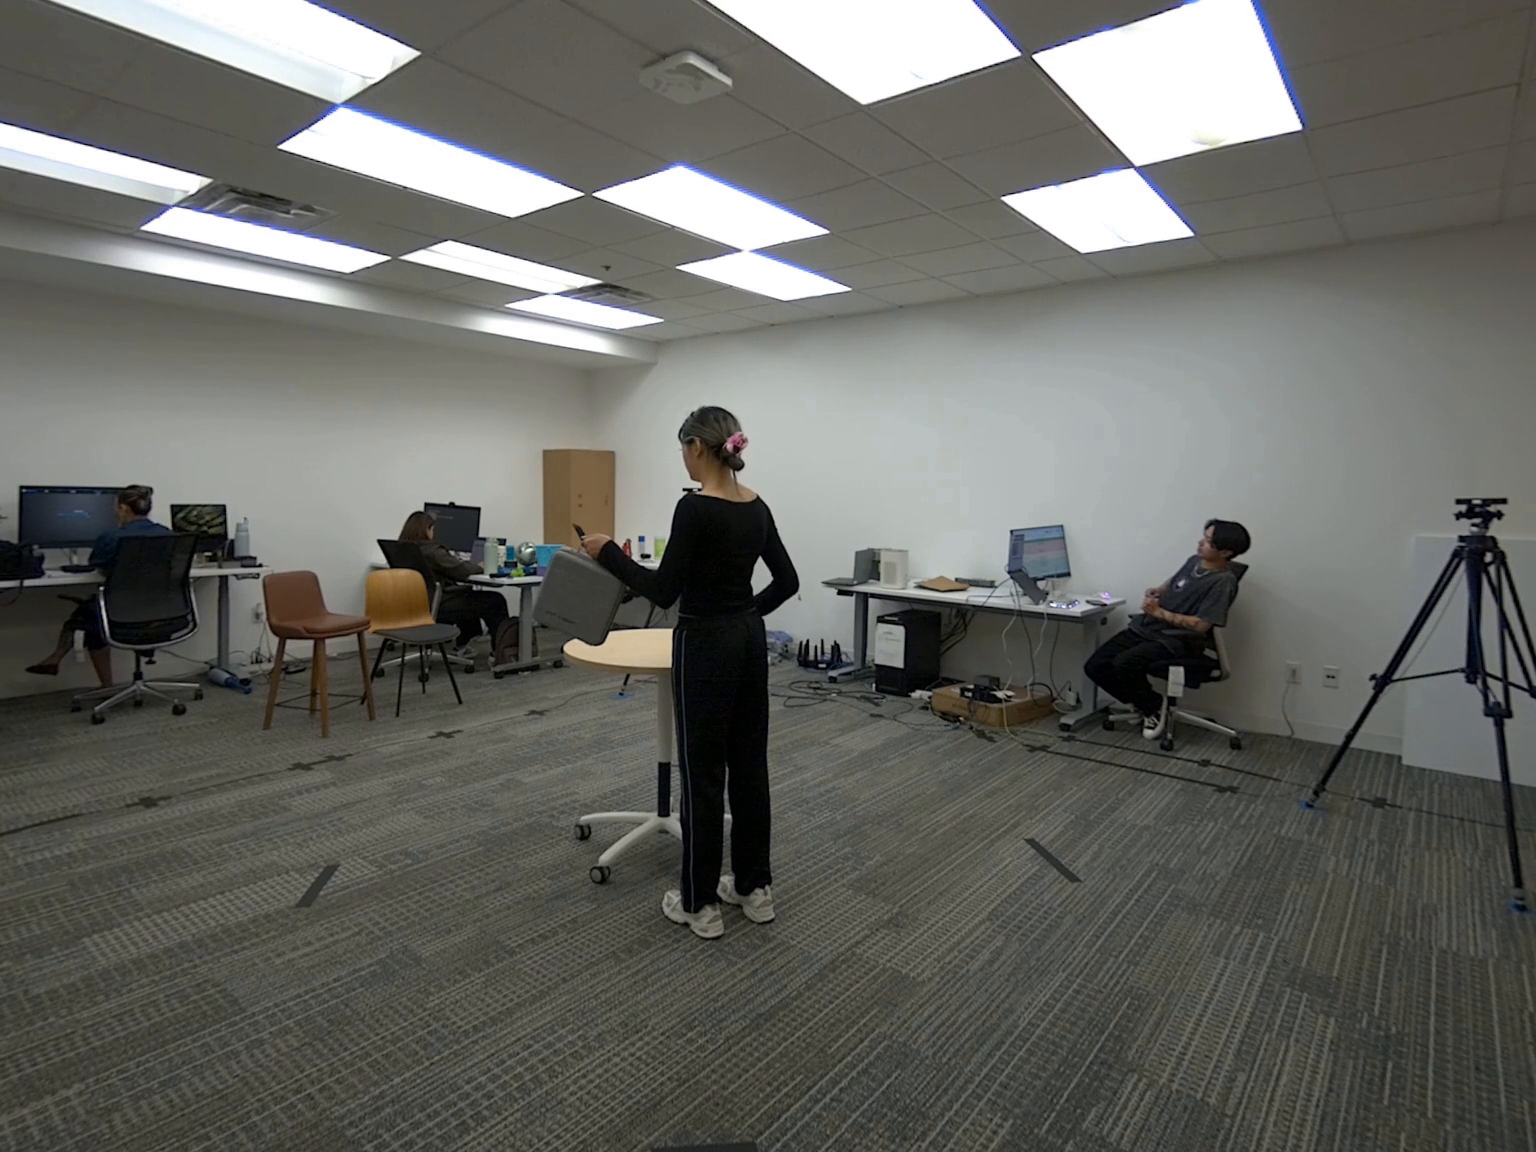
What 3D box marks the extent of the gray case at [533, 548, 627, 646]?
[{"bbox_3d":[-0.614,0.059,2.709,0.258,0.259,0.104,25,13,2],"label":"gray case"}]
